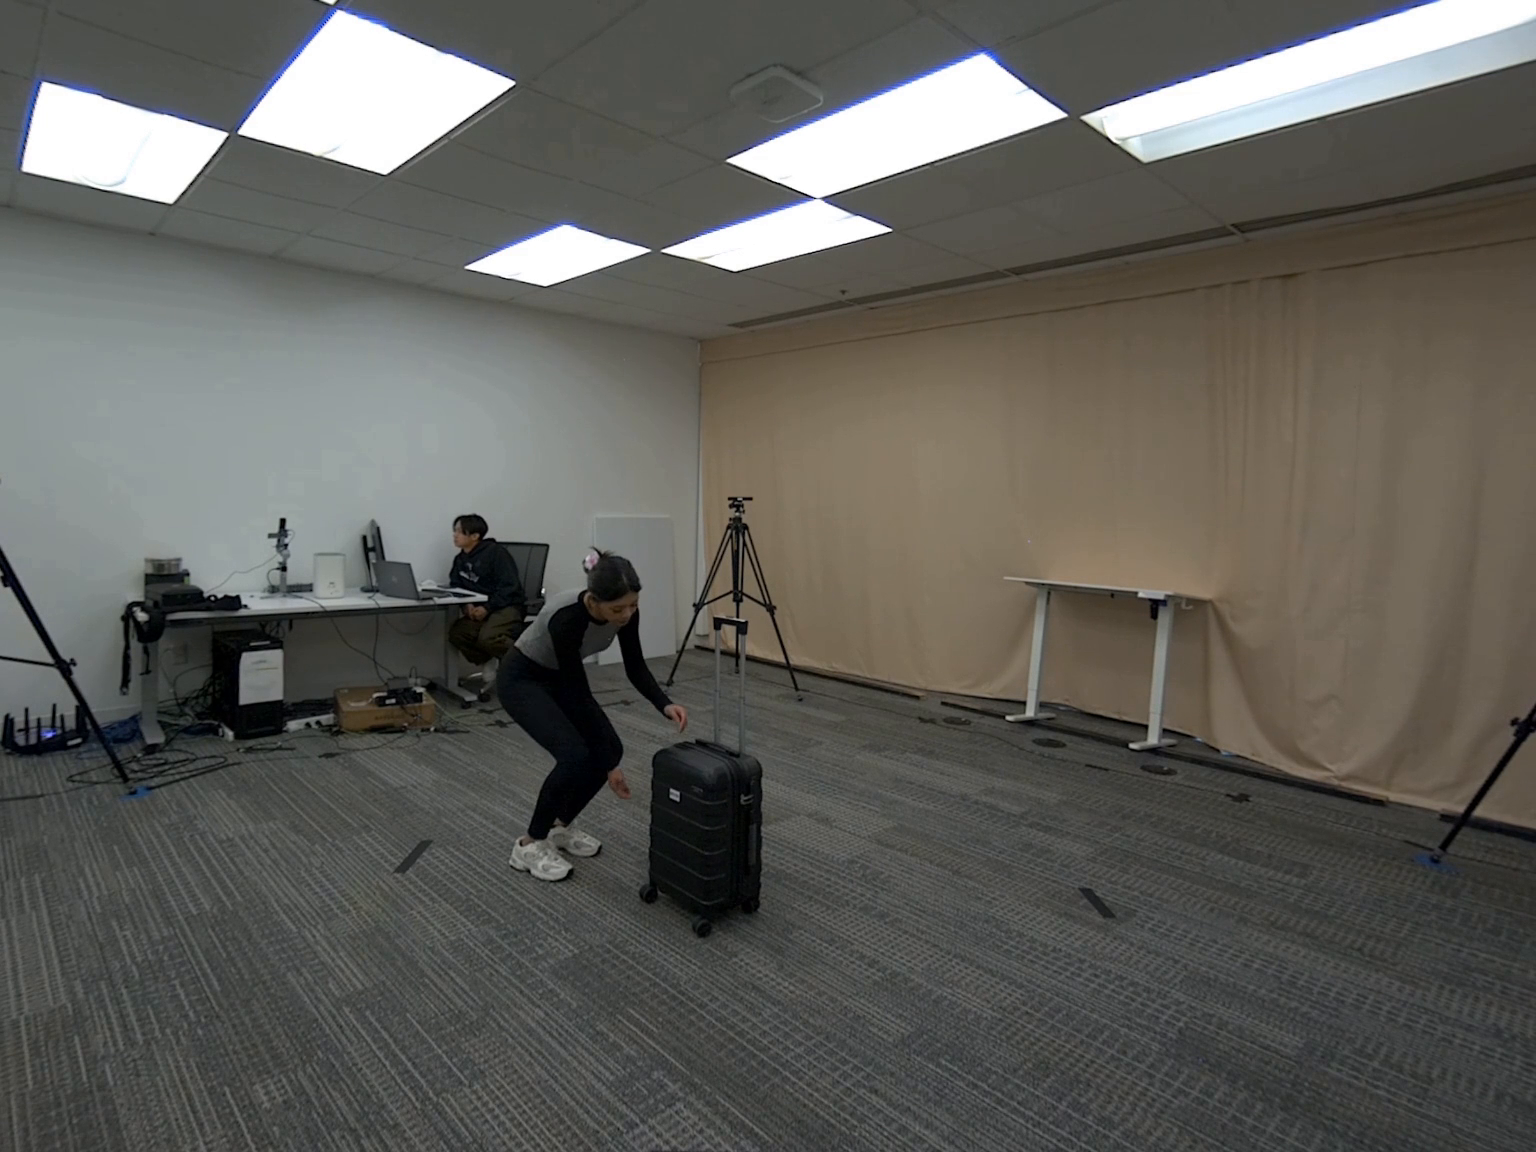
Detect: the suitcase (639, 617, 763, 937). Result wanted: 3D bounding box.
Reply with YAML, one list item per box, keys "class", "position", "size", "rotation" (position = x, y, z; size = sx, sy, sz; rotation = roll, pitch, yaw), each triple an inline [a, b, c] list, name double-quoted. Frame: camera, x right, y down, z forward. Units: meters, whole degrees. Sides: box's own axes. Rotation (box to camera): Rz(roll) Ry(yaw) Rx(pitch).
- class: "suitcase"
  position: [-0.213, 0.654, 2.834]
  size: [0.251, 0.976, 0.394]
  rotation: [-3, 5, -44]
